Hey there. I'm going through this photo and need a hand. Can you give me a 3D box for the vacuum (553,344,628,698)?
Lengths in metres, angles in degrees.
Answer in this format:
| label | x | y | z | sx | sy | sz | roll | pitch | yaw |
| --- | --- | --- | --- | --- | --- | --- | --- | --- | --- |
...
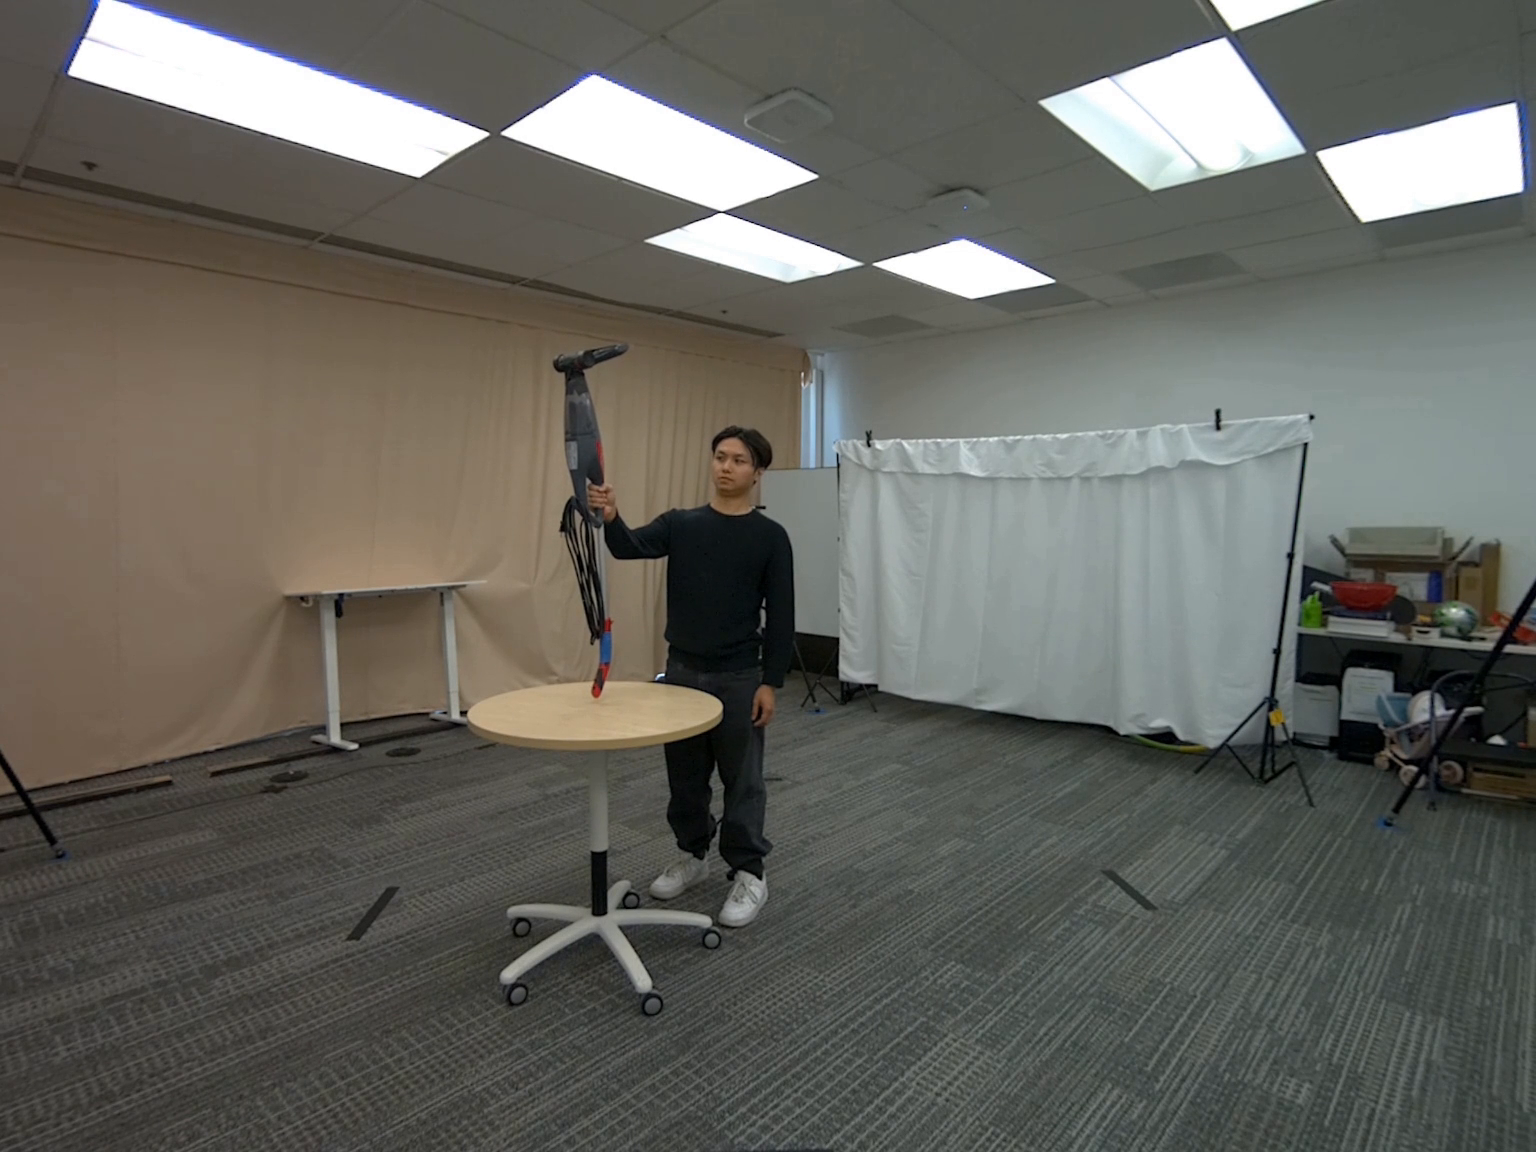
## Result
| label | x | y | z | sx | sy | sz | roll | pitch | yaw |
| --- | --- | --- | --- | --- | --- | --- | --- | --- | --- |
| vacuum | -0.547 | -0.155 | 2.555 | 0.261 | 1.047 | 0.139 | 2 | 3 | 40 |
